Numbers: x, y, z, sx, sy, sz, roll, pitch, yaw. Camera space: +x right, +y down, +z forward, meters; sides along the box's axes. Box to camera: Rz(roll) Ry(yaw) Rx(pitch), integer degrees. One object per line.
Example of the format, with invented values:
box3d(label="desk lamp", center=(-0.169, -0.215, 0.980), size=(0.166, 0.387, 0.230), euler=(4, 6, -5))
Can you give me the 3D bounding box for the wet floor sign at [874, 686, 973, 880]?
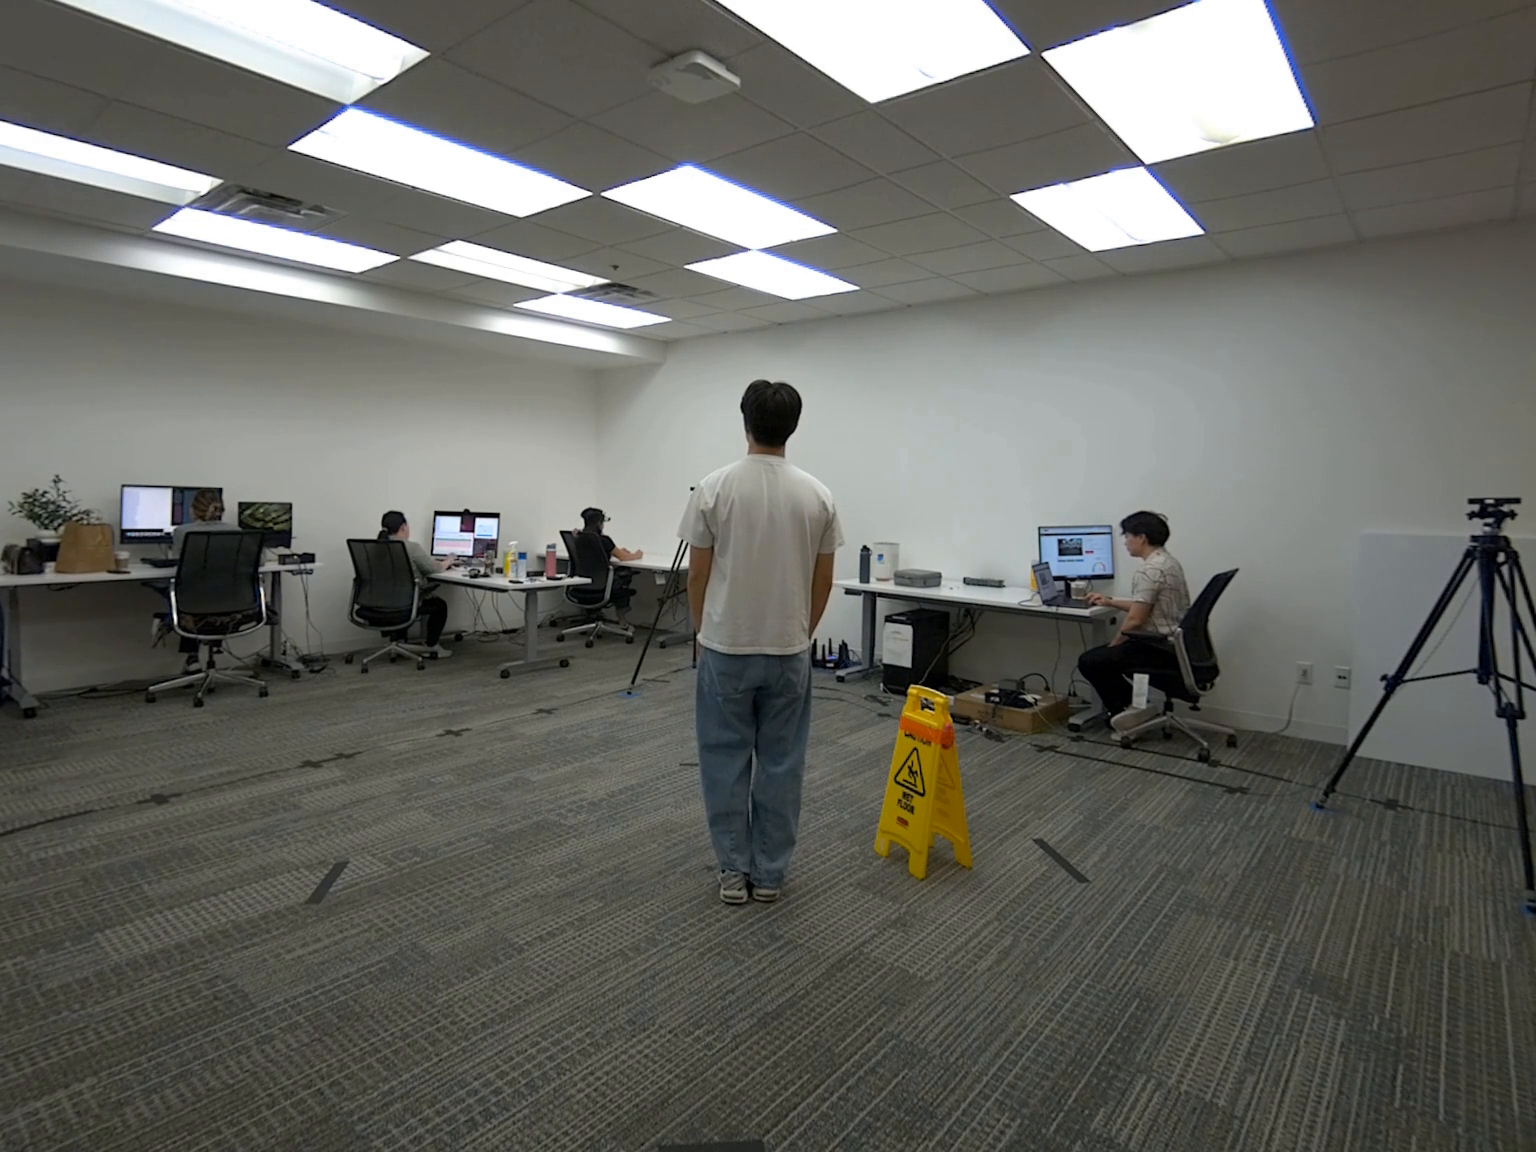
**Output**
box3d(label="wet floor sign", center=(0.589, 0.745, 3.218), size=(0.282, 0.644, 0.291), euler=(0, 4, -29))
